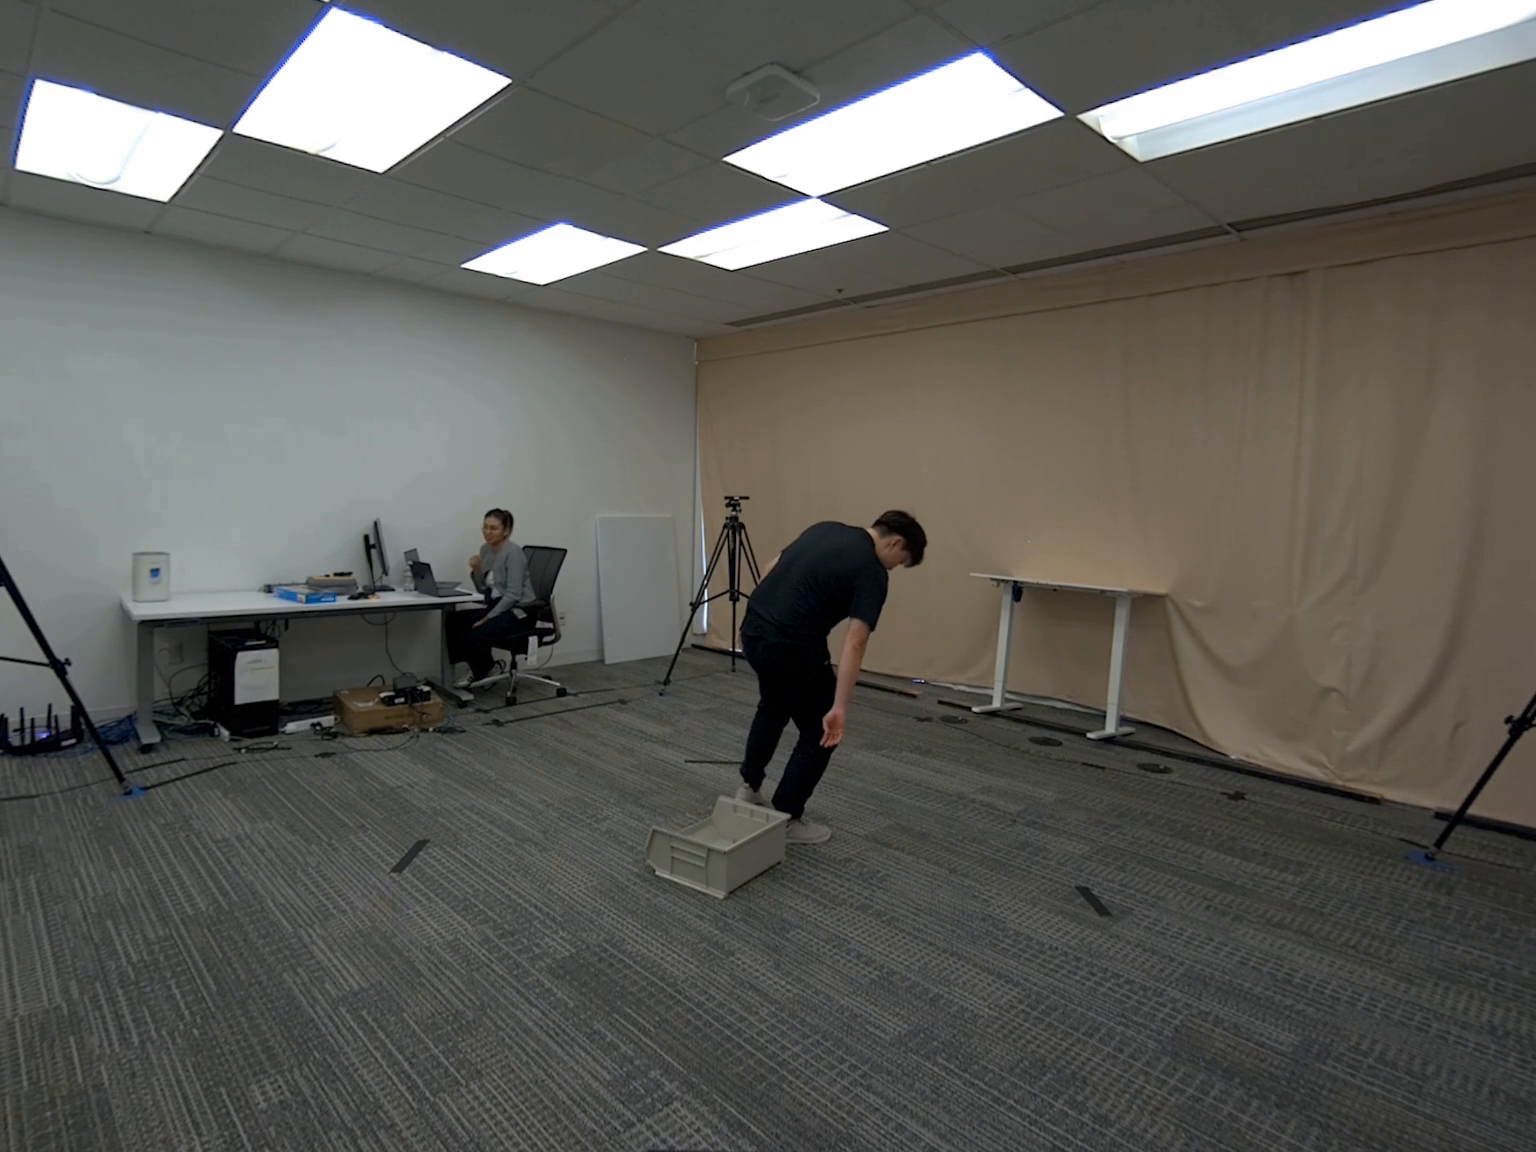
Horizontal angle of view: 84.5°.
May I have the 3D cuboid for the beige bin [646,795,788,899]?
[{"bbox_3d":[-0.191,1.010,3.174,0.386,0.188,0.413,5,6,35],"label":"beige bin"}]
